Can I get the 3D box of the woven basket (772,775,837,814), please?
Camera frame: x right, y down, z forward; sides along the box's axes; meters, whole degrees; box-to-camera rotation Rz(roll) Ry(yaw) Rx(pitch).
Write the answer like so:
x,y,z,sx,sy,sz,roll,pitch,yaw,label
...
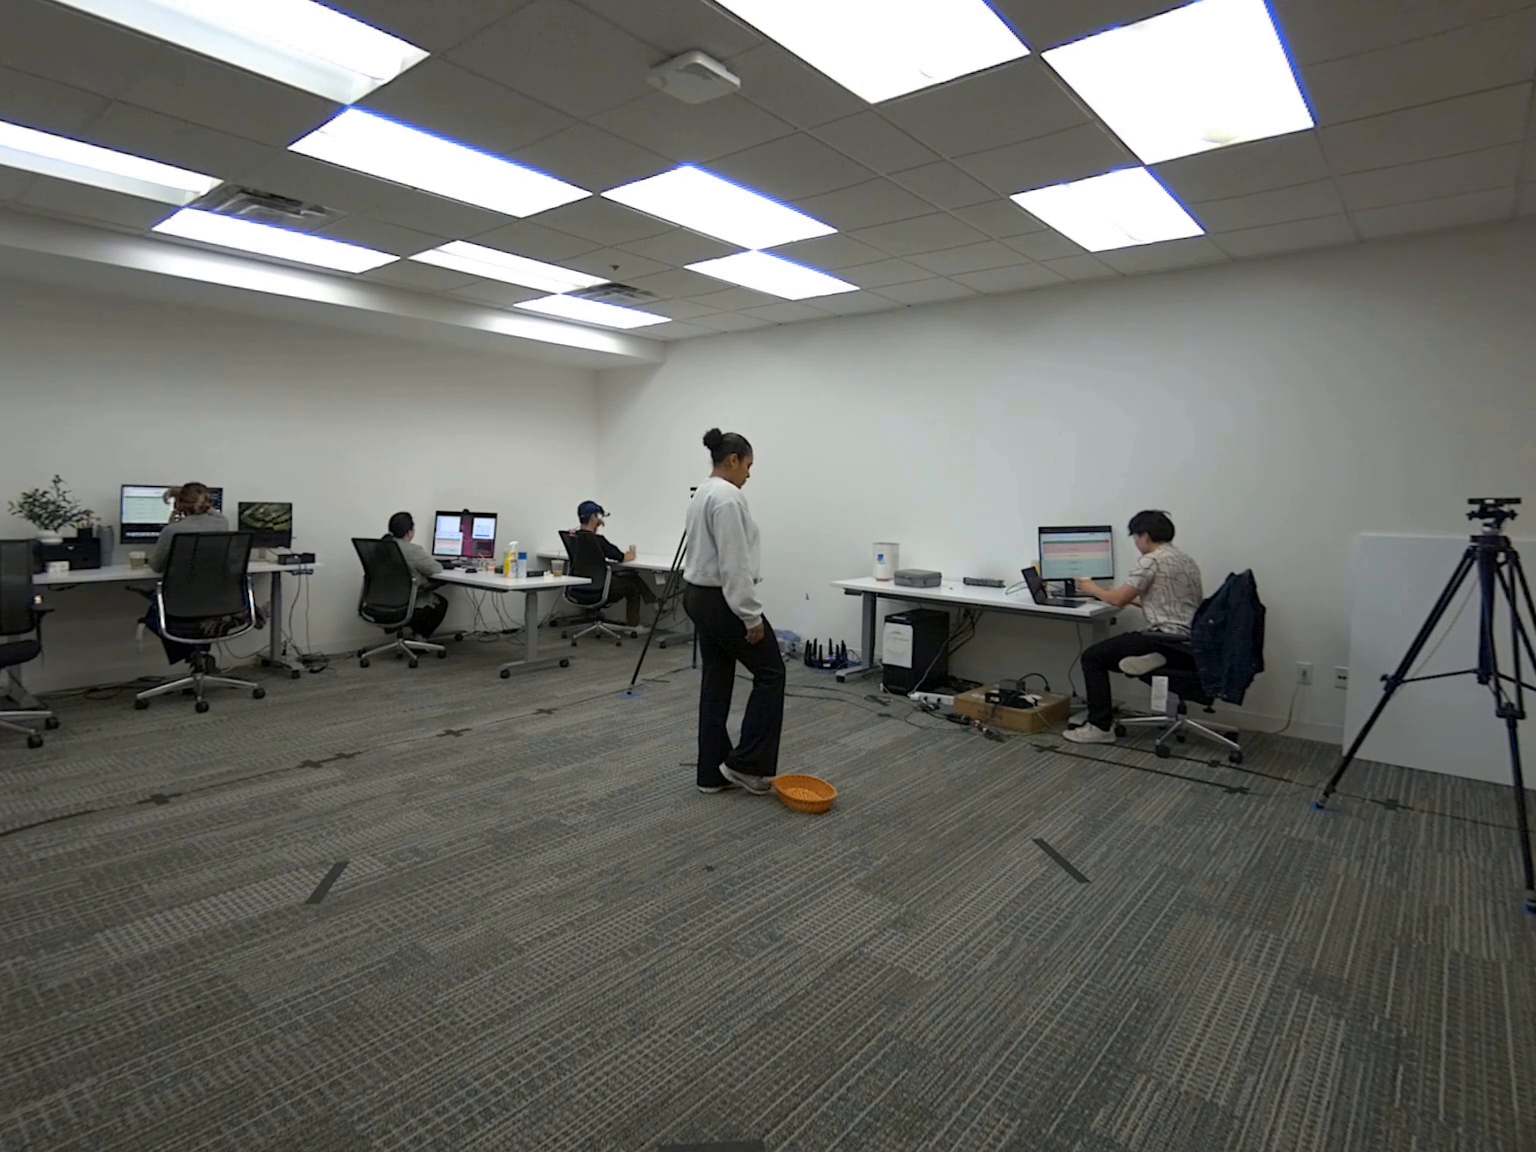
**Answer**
x,y,z,sx,sy,sz,roll,pitch,yaw,label
0.152,0.968,3.790,0.248,0.073,0.358,-2,6,-20,woven basket
